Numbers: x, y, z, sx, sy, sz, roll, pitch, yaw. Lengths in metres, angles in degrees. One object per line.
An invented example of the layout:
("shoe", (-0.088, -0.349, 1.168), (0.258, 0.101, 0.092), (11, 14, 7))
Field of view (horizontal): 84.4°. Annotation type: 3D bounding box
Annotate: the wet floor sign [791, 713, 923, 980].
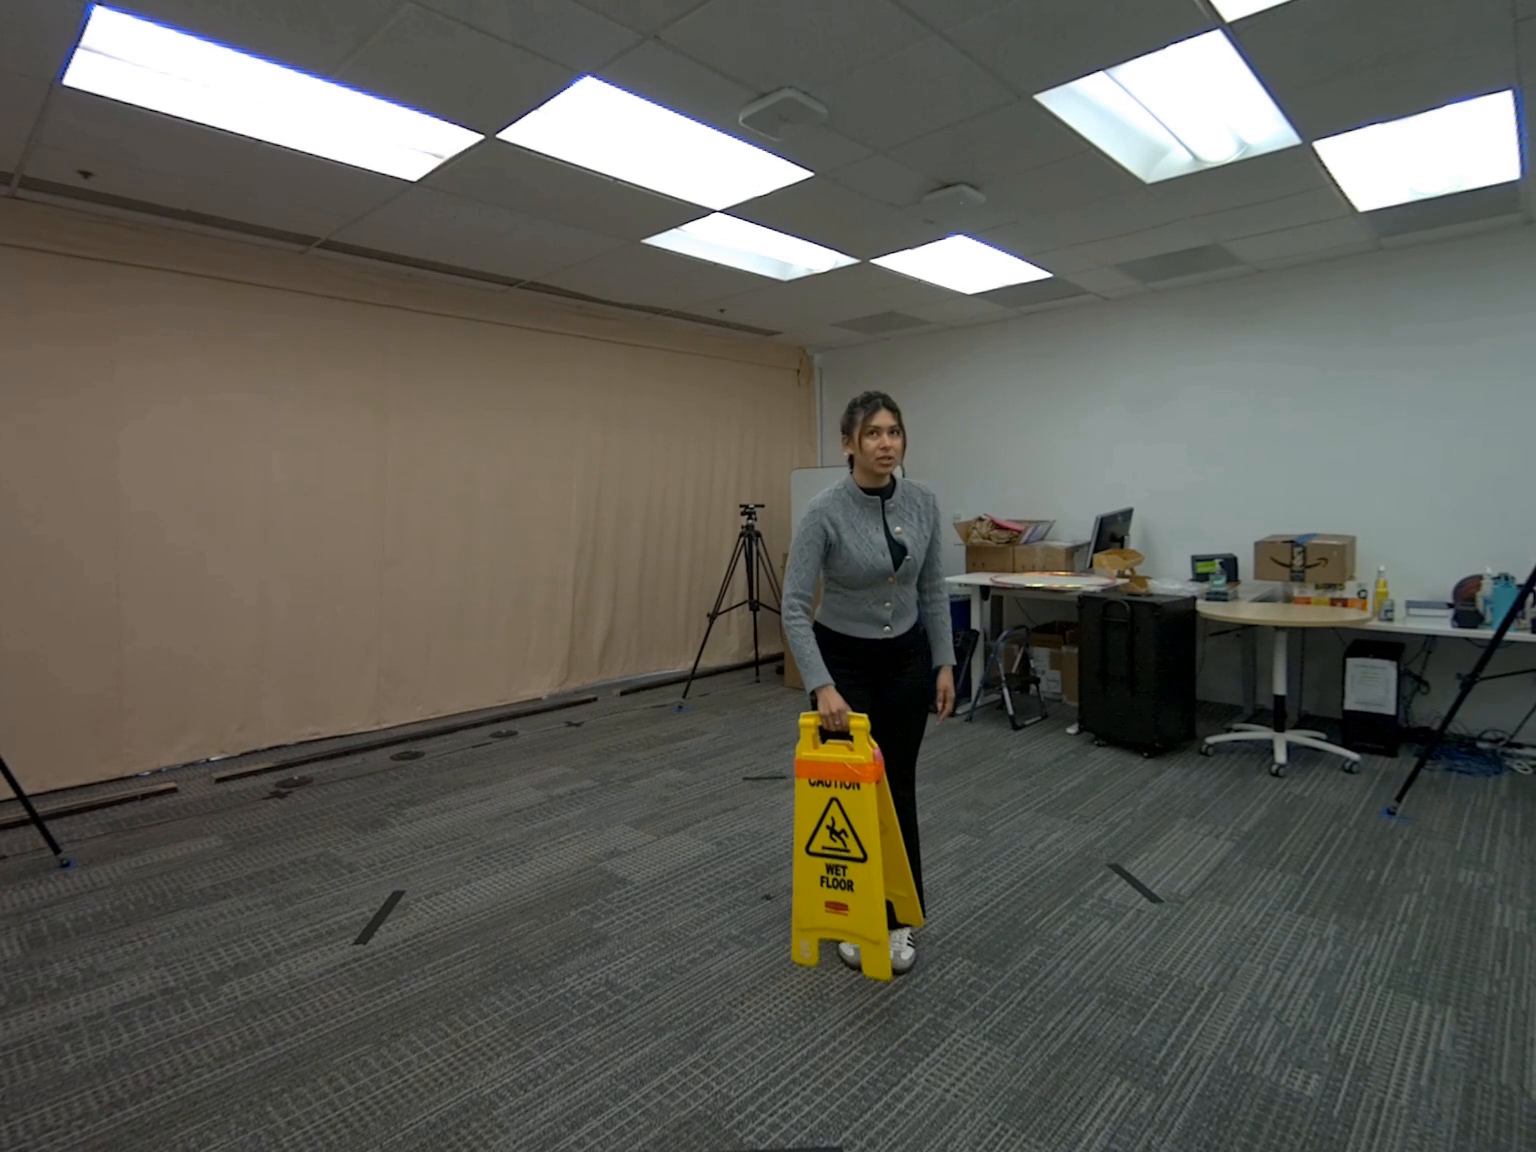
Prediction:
("wet floor sign", (0.216, 0.693, 2.289), (0.290, 0.644, 0.283), (-6, 4, 30))
